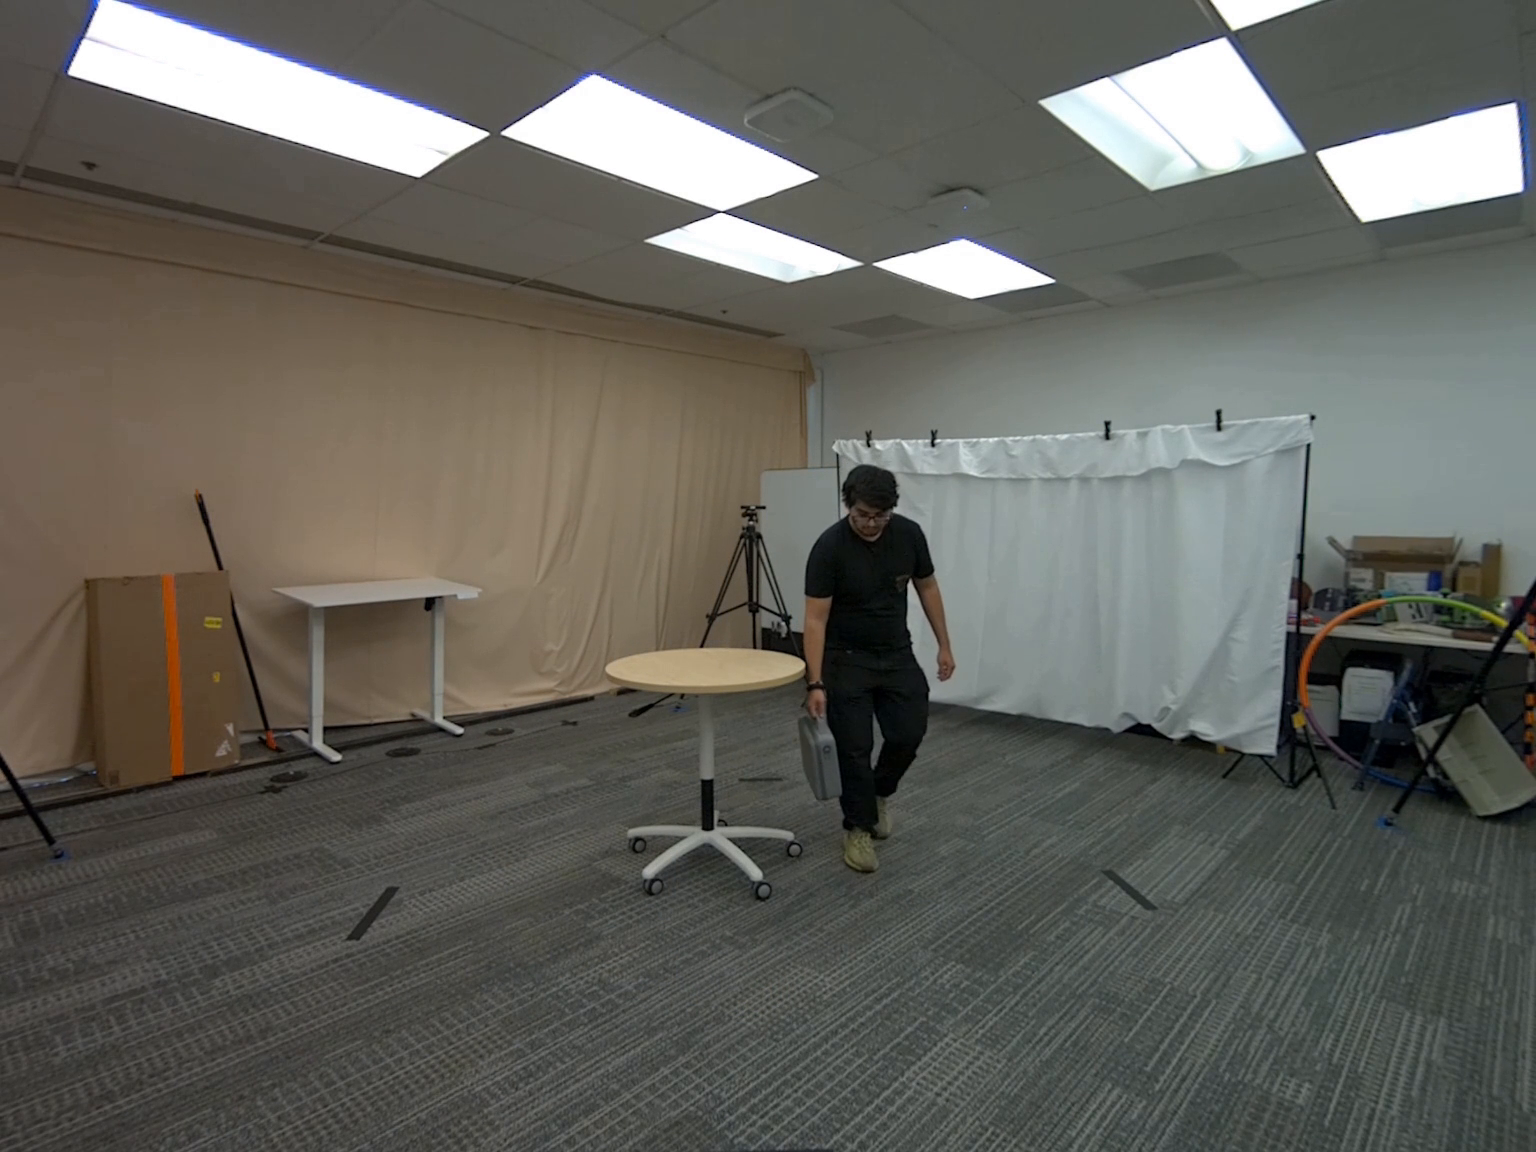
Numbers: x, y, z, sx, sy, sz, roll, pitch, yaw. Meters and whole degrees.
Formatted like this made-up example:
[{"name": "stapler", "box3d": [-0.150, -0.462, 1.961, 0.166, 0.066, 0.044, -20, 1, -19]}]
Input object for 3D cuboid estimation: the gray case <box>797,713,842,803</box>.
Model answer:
[{"name": "gray case", "box3d": [0.202, 0.685, 3.203, 0.104, 0.259, 0.259, -4, 11, -2]}]
